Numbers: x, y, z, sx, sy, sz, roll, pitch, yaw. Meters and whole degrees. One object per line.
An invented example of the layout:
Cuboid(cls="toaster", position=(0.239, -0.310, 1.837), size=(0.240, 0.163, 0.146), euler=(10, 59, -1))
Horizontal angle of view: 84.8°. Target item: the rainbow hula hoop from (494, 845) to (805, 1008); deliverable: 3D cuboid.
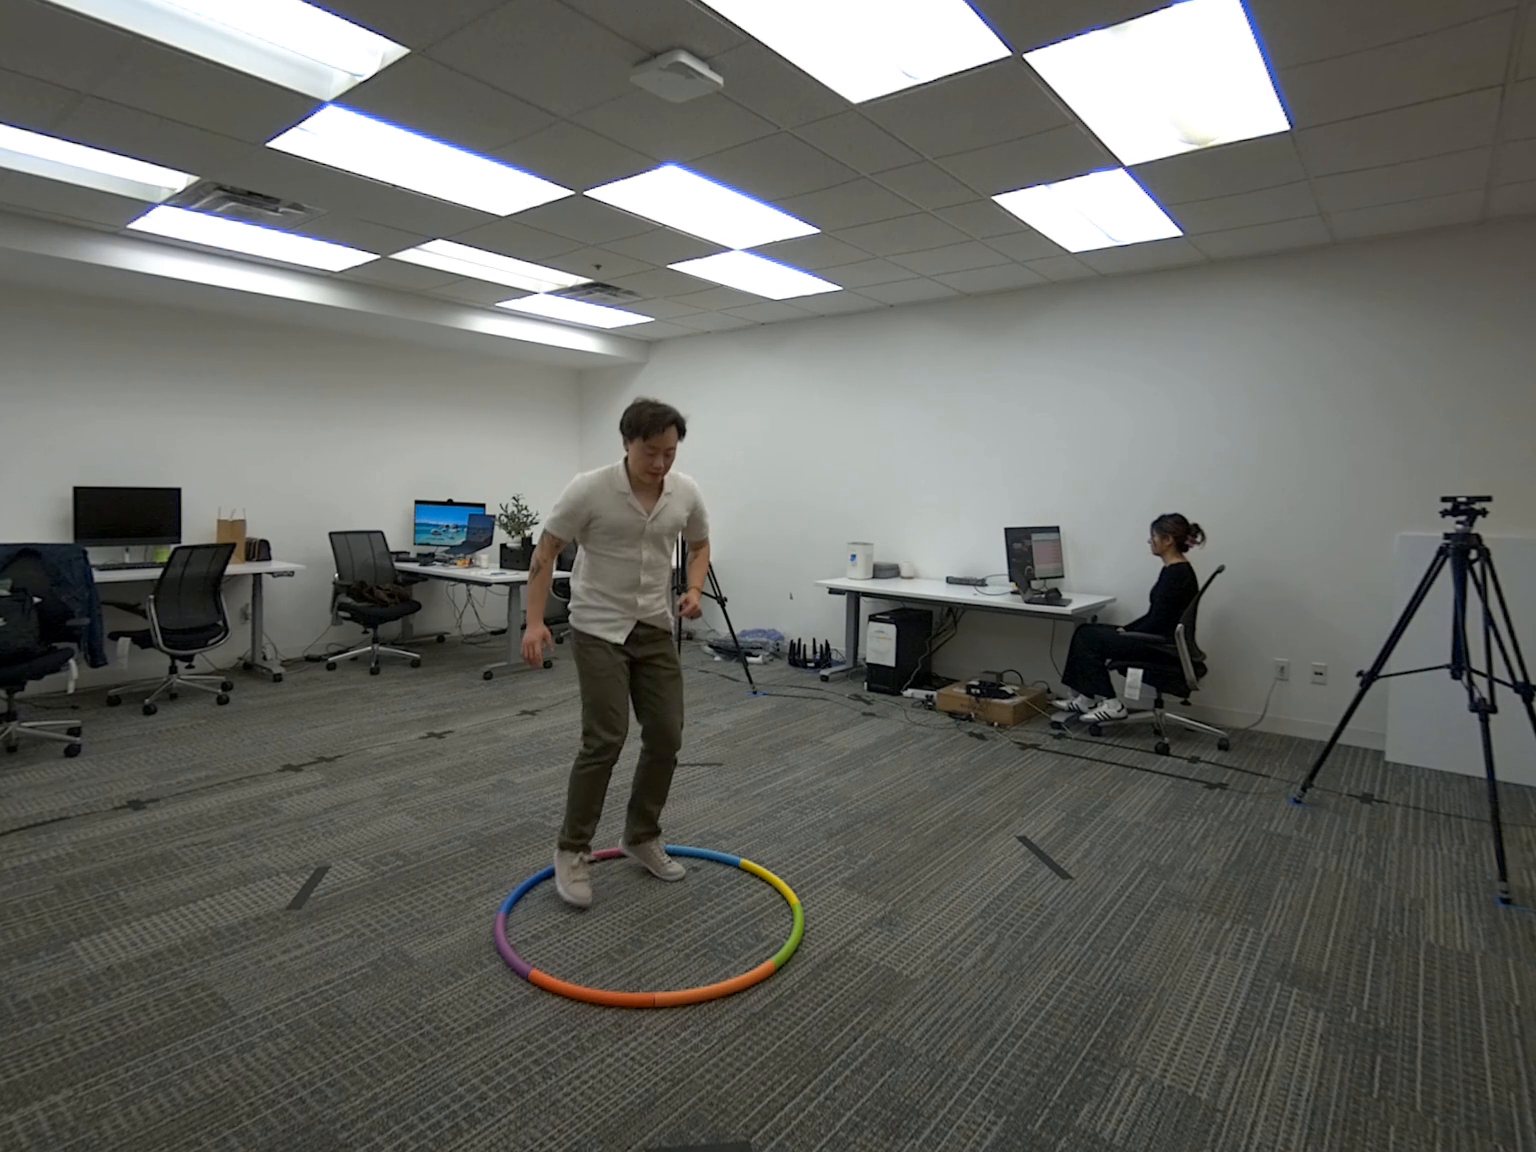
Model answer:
Cuboid(cls="rainbow hula hoop", position=(-0.384, 1.069, 2.753), size=(0.978, 0.035, 0.984), euler=(1, 6, -2))
